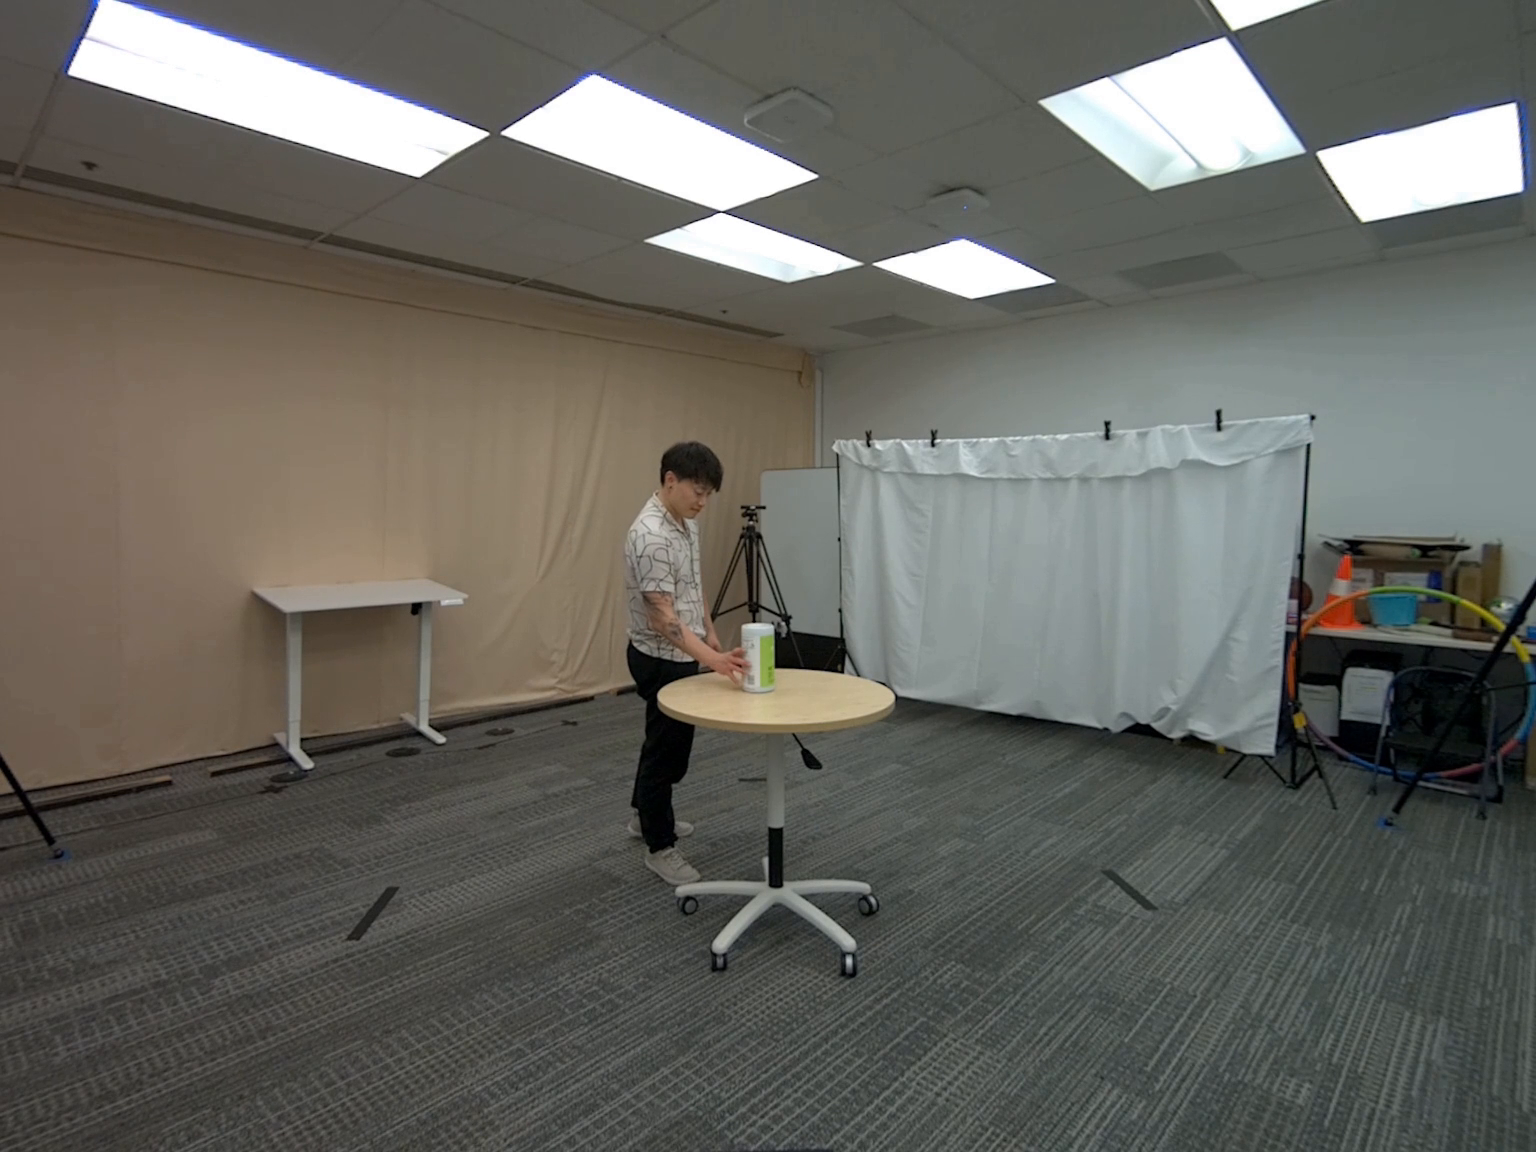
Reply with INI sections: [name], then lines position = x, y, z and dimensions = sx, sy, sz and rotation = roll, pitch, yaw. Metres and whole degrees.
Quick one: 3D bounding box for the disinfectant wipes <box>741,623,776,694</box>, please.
[disinfectant wipes]
position = -0.023, 0.273, 2.775
dimensions = 0.118, 0.217, 0.118
rotation = 0, 2, -2
